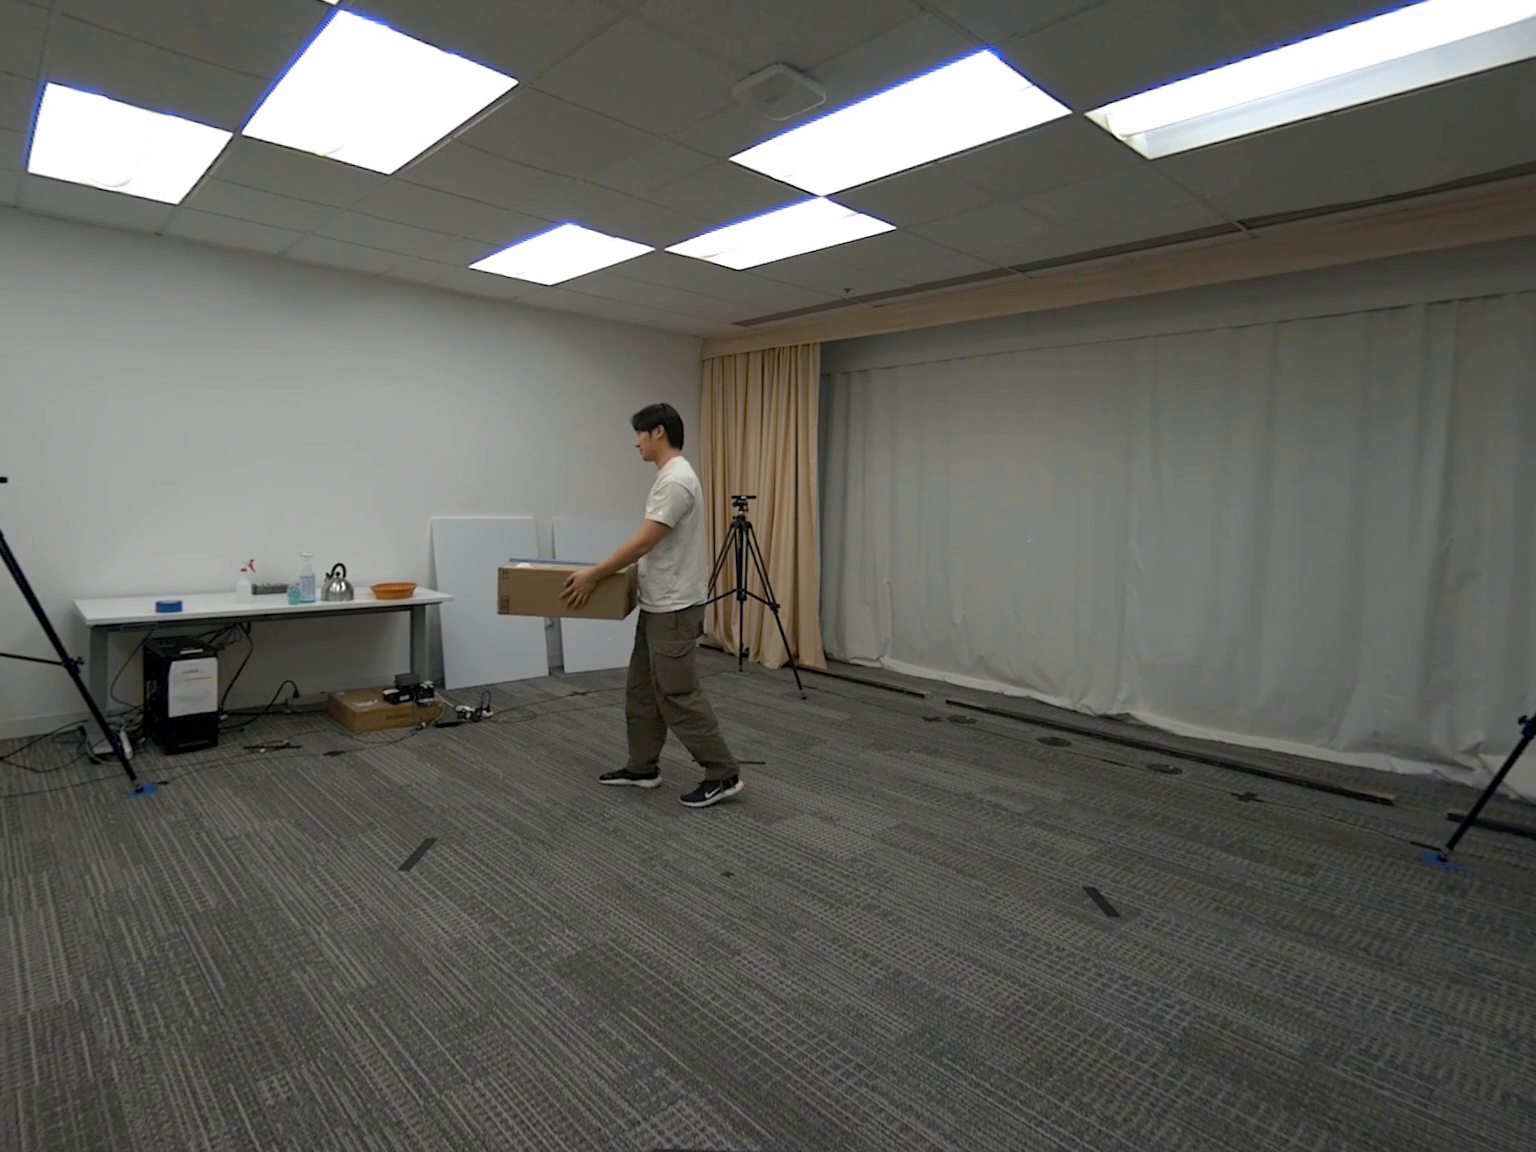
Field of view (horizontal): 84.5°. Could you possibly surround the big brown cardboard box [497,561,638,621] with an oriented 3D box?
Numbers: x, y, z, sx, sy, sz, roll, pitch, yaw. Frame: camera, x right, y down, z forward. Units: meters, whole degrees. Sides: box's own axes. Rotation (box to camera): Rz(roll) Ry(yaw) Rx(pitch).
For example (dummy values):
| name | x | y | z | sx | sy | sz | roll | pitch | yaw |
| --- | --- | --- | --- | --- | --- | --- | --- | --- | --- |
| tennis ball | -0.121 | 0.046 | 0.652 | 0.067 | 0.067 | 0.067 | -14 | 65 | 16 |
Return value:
| name | x | y | z | sx | sy | sz | roll | pitch | yaw |
| --- | --- | --- | --- | --- | --- | --- | --- | --- | --- |
| big brown cardboard box | -0.918 | 0.053 | 3.923 | 0.589 | 0.232 | 0.419 | 4 | 6 | 0 |
